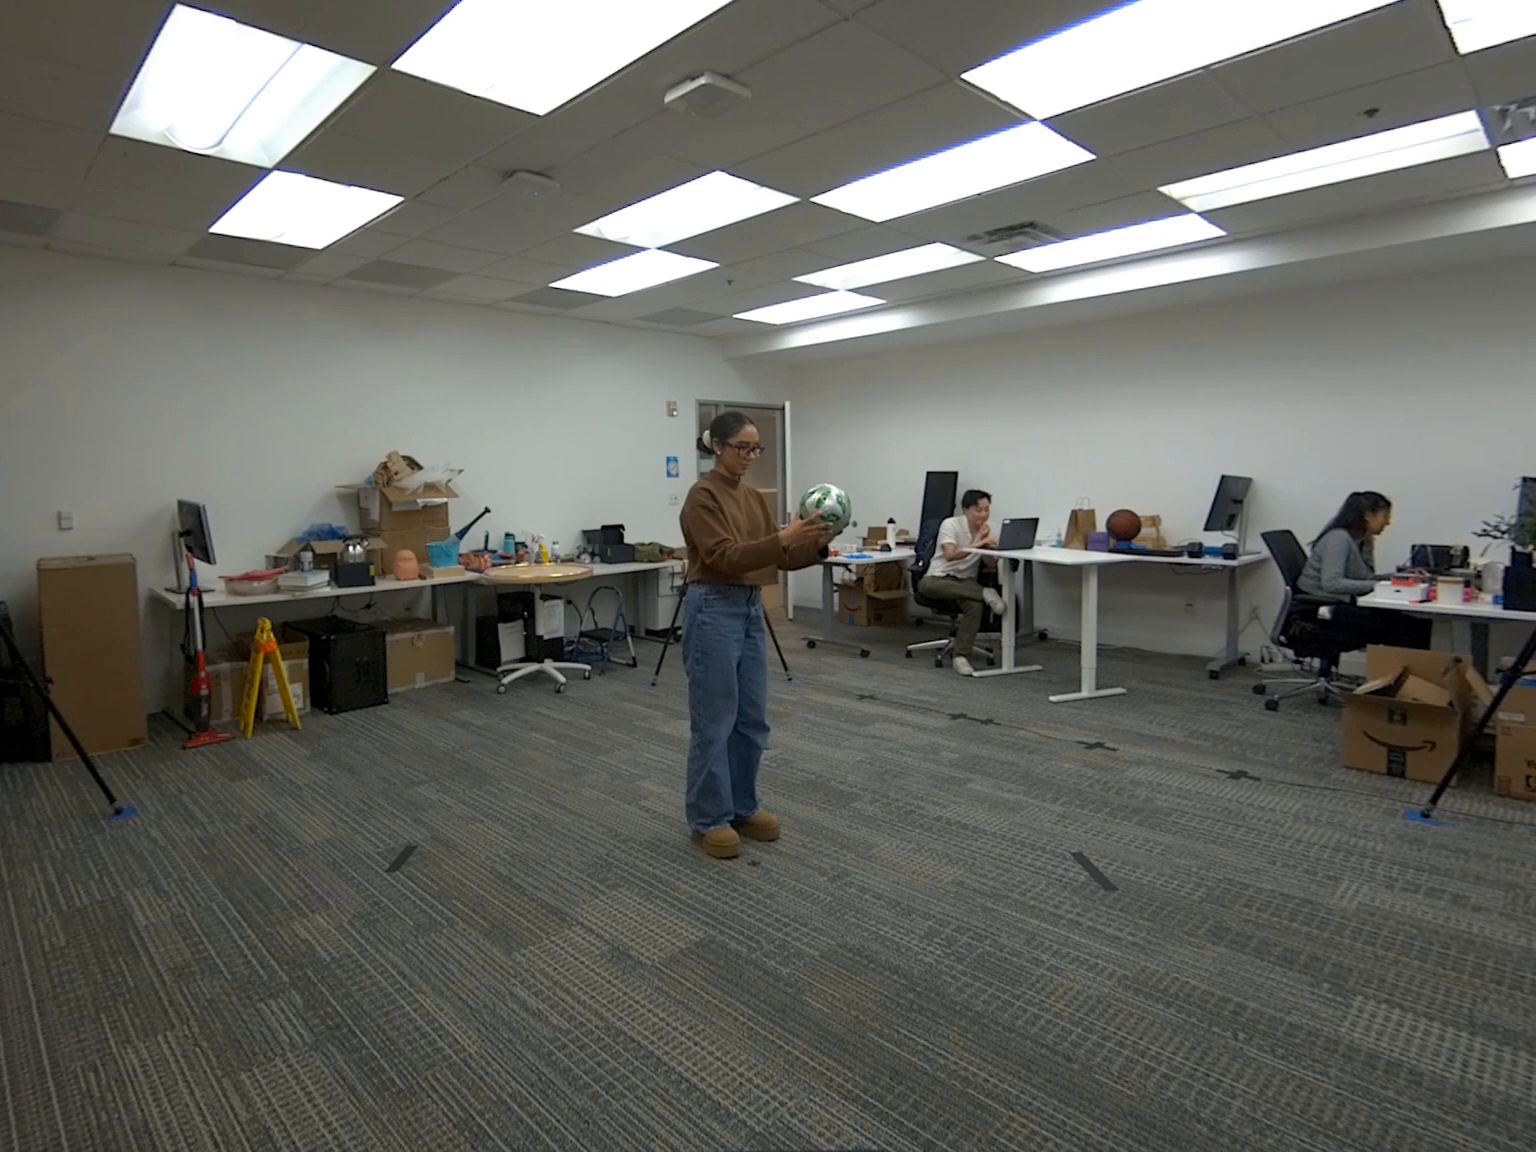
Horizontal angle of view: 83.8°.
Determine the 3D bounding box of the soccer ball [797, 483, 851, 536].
[{"bbox_3d":[0.209,-0.232,3.047,0.187,0.187,0.188,-1,5,-2],"label":"soccer ball"}]
